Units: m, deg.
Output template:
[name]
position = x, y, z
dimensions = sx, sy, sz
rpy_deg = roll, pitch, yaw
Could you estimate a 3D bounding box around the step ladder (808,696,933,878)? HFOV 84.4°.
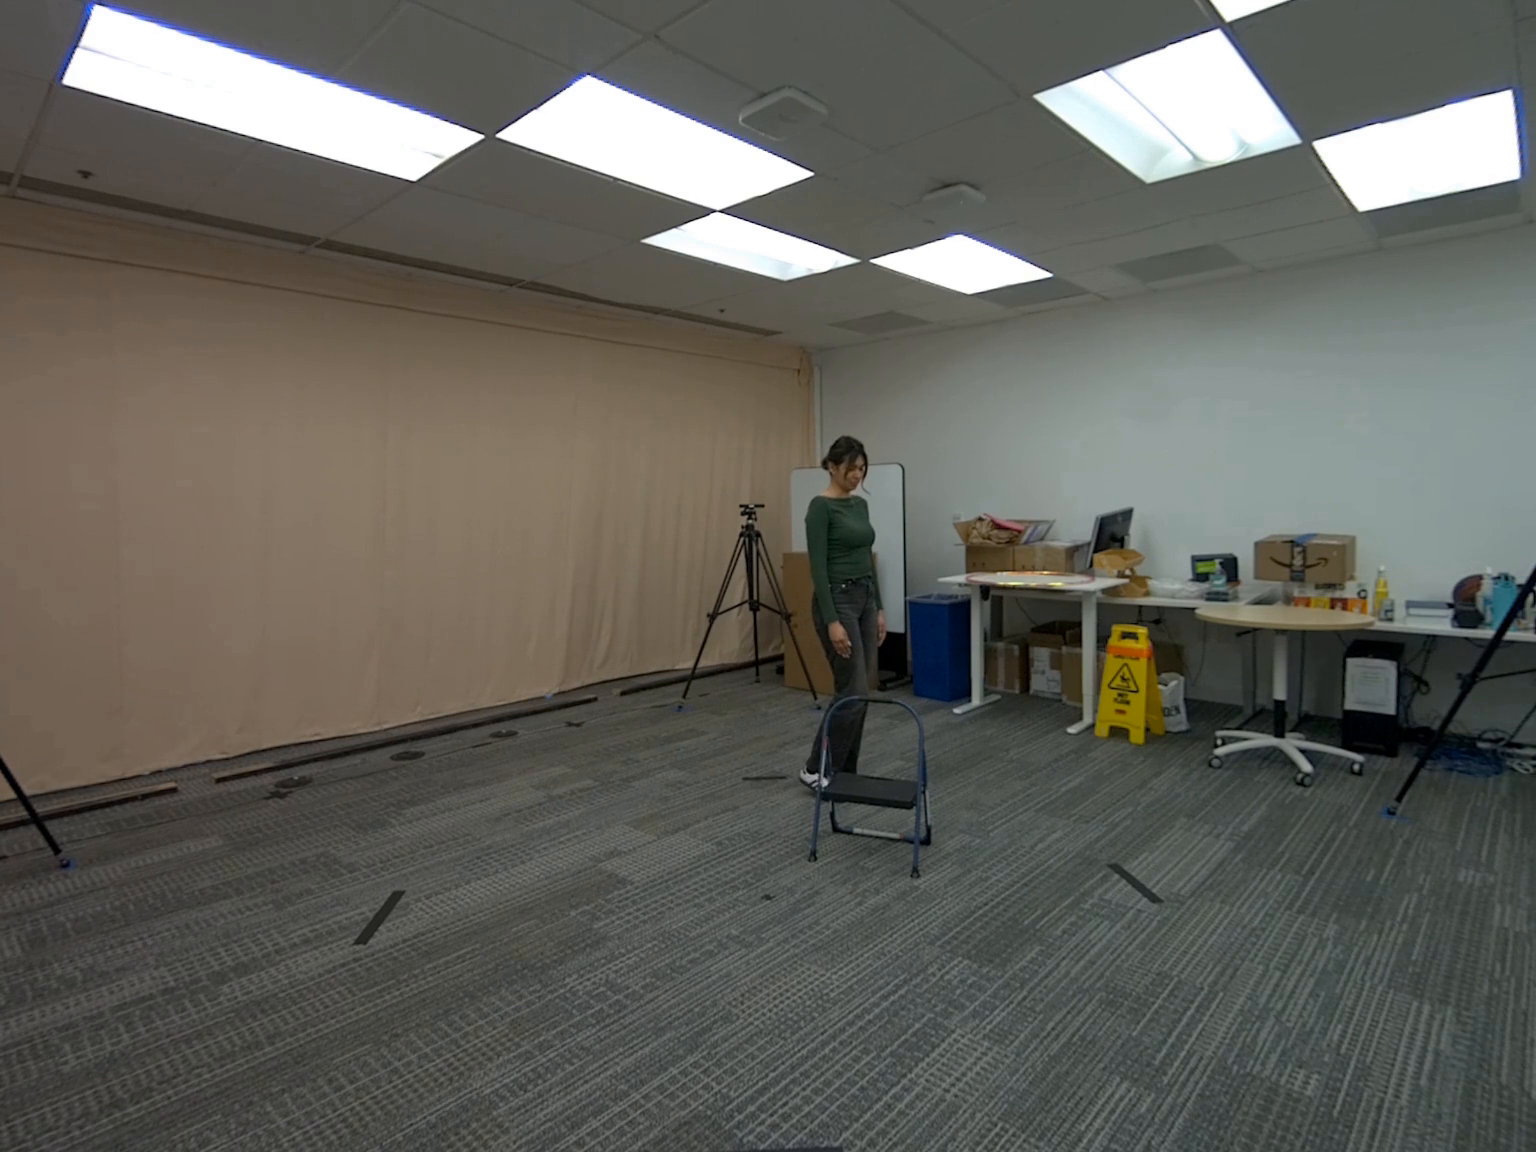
[step ladder]
position = 0.415, 0.797, 3.341
dimensions = 0.440, 0.605, 0.342
rpy_deg = 1, 3, 22
